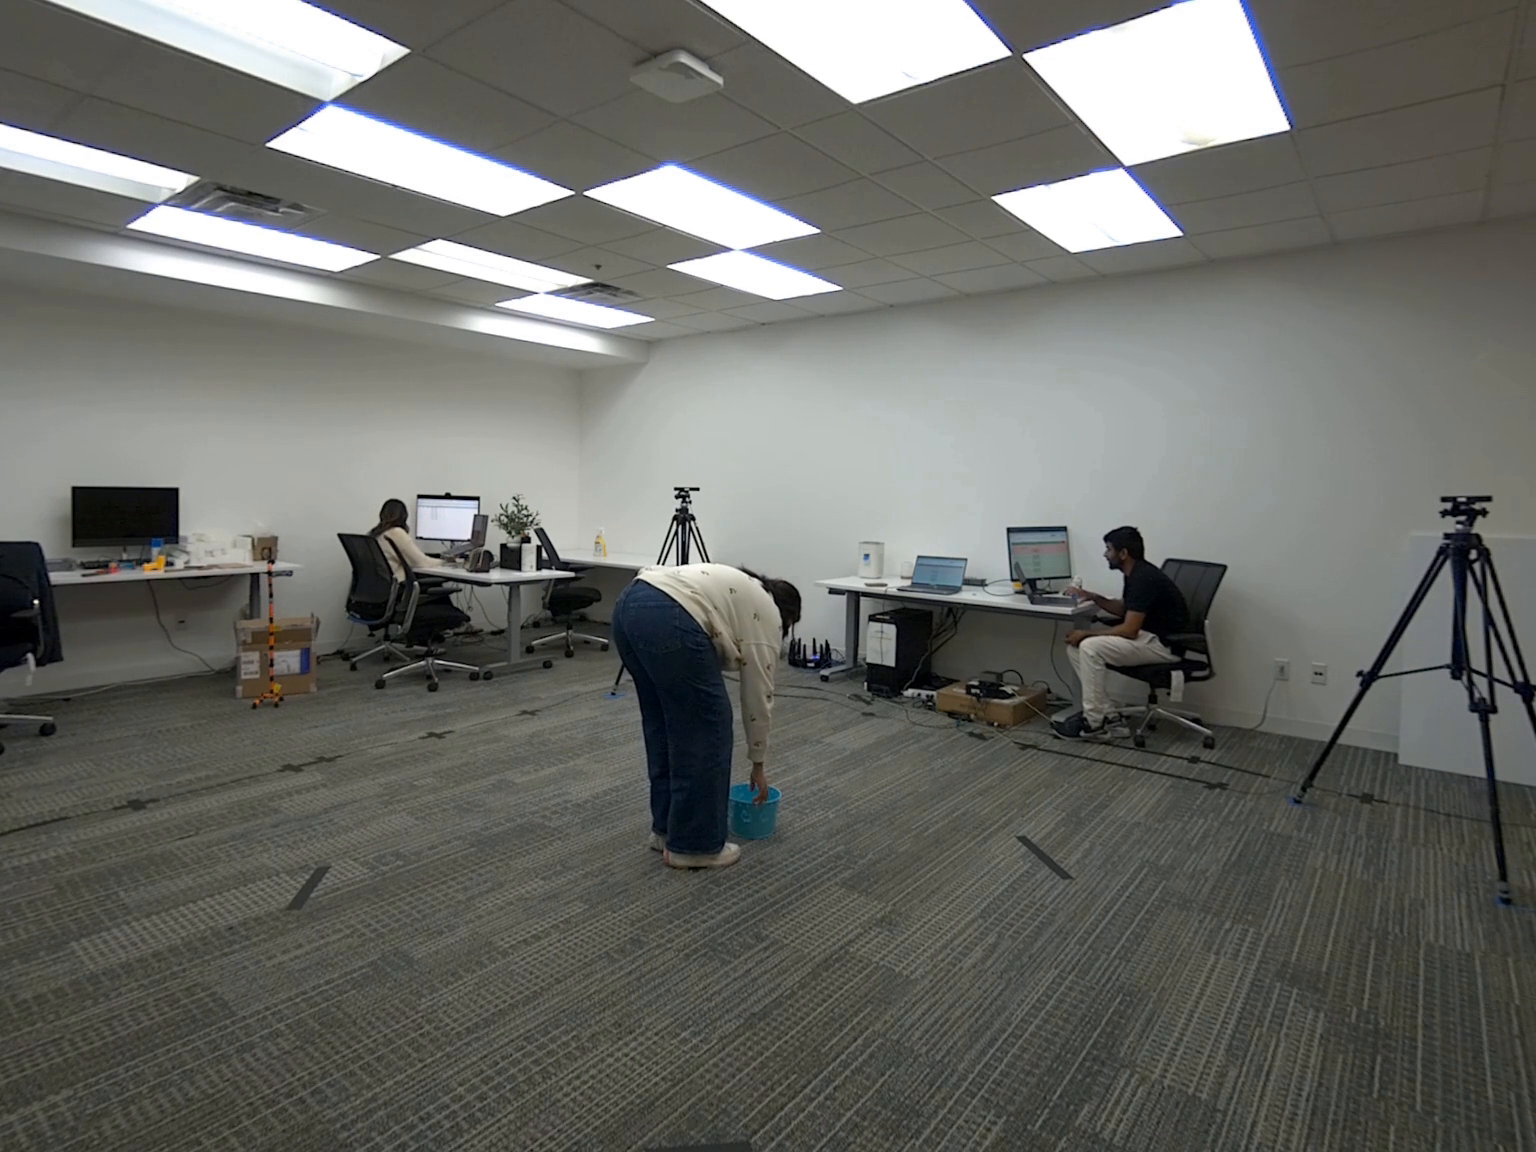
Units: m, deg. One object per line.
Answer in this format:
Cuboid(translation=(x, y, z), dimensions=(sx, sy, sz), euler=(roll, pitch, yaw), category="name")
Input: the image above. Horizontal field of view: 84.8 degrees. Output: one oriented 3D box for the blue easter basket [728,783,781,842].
Cuboid(translation=(-0.072, 0.954, 3.479), dimensions=(0.243, 0.155, 0.245), euler=(1, 5, -2), category="blue easter basket")
